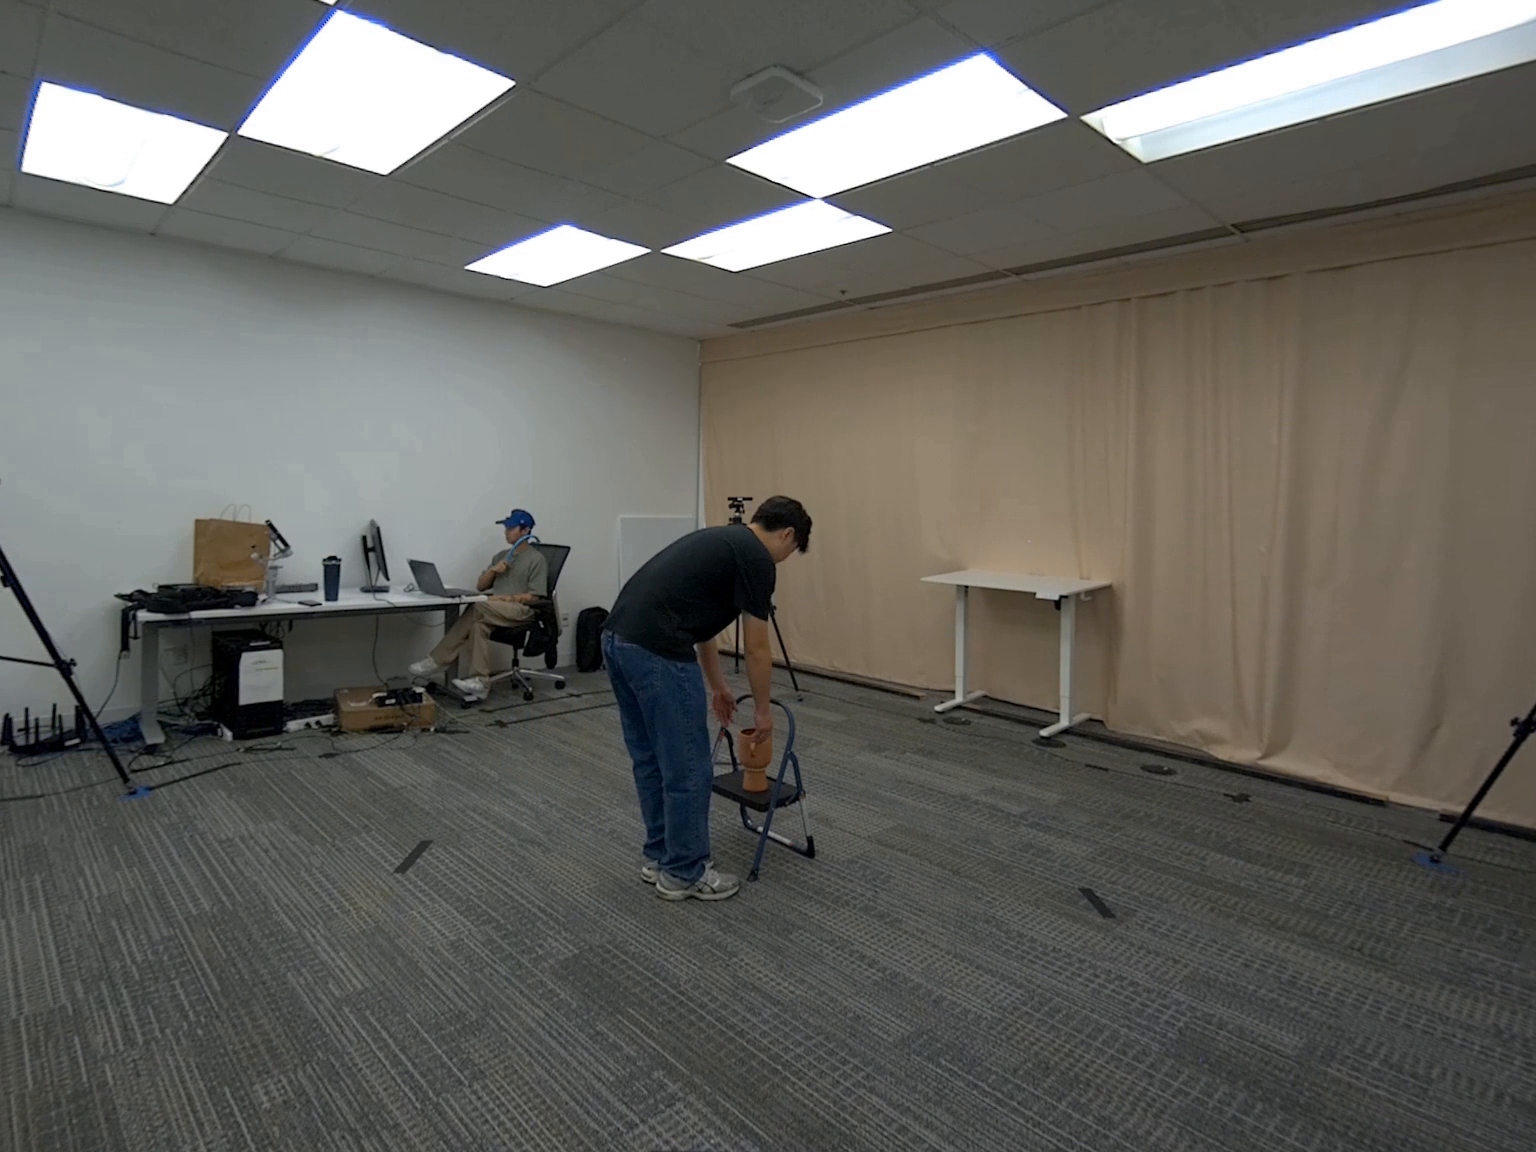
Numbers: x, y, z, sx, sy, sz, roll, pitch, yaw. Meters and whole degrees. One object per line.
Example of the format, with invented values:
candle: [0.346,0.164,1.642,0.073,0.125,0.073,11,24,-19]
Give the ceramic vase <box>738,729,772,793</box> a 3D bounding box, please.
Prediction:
ceramic vase: [-0.055,0.719,3.298,0.155,0.219,0.138,-4,6,-43]
